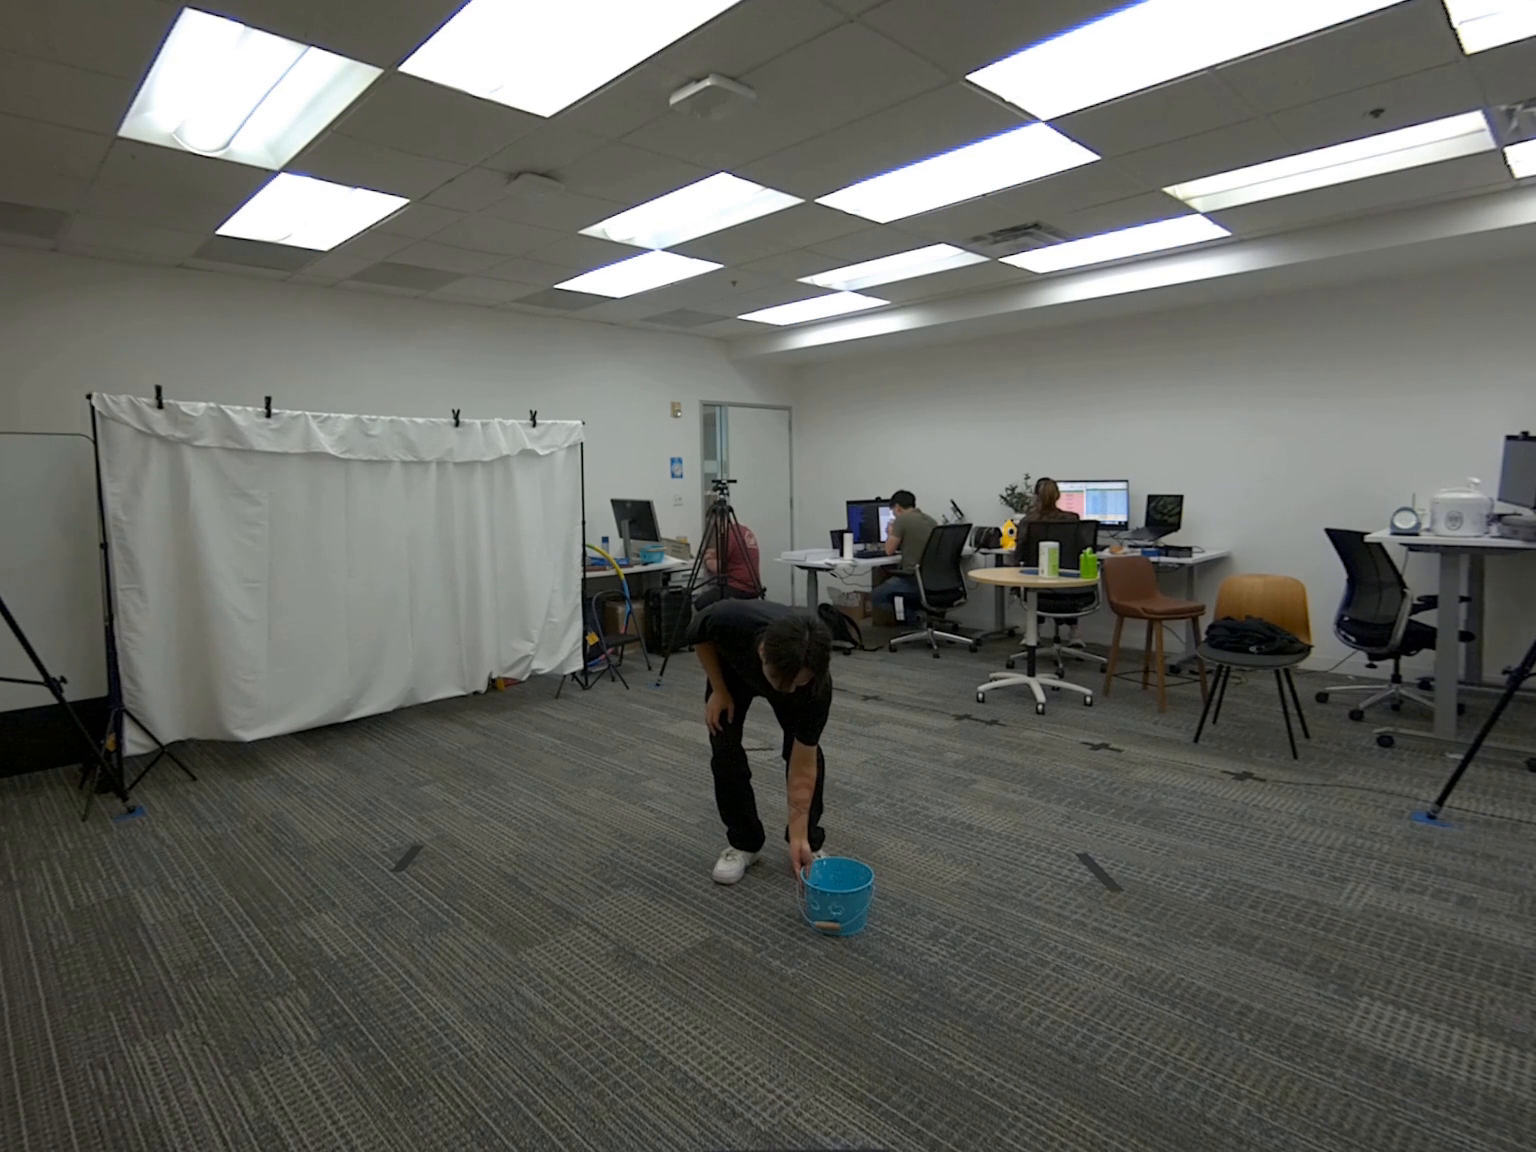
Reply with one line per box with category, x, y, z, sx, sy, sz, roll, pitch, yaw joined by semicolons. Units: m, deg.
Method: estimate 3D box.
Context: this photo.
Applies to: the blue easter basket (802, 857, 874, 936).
blue easter basket;0.220;1.017;2.693;0.243;0.155;0.245;-2;7;-1
